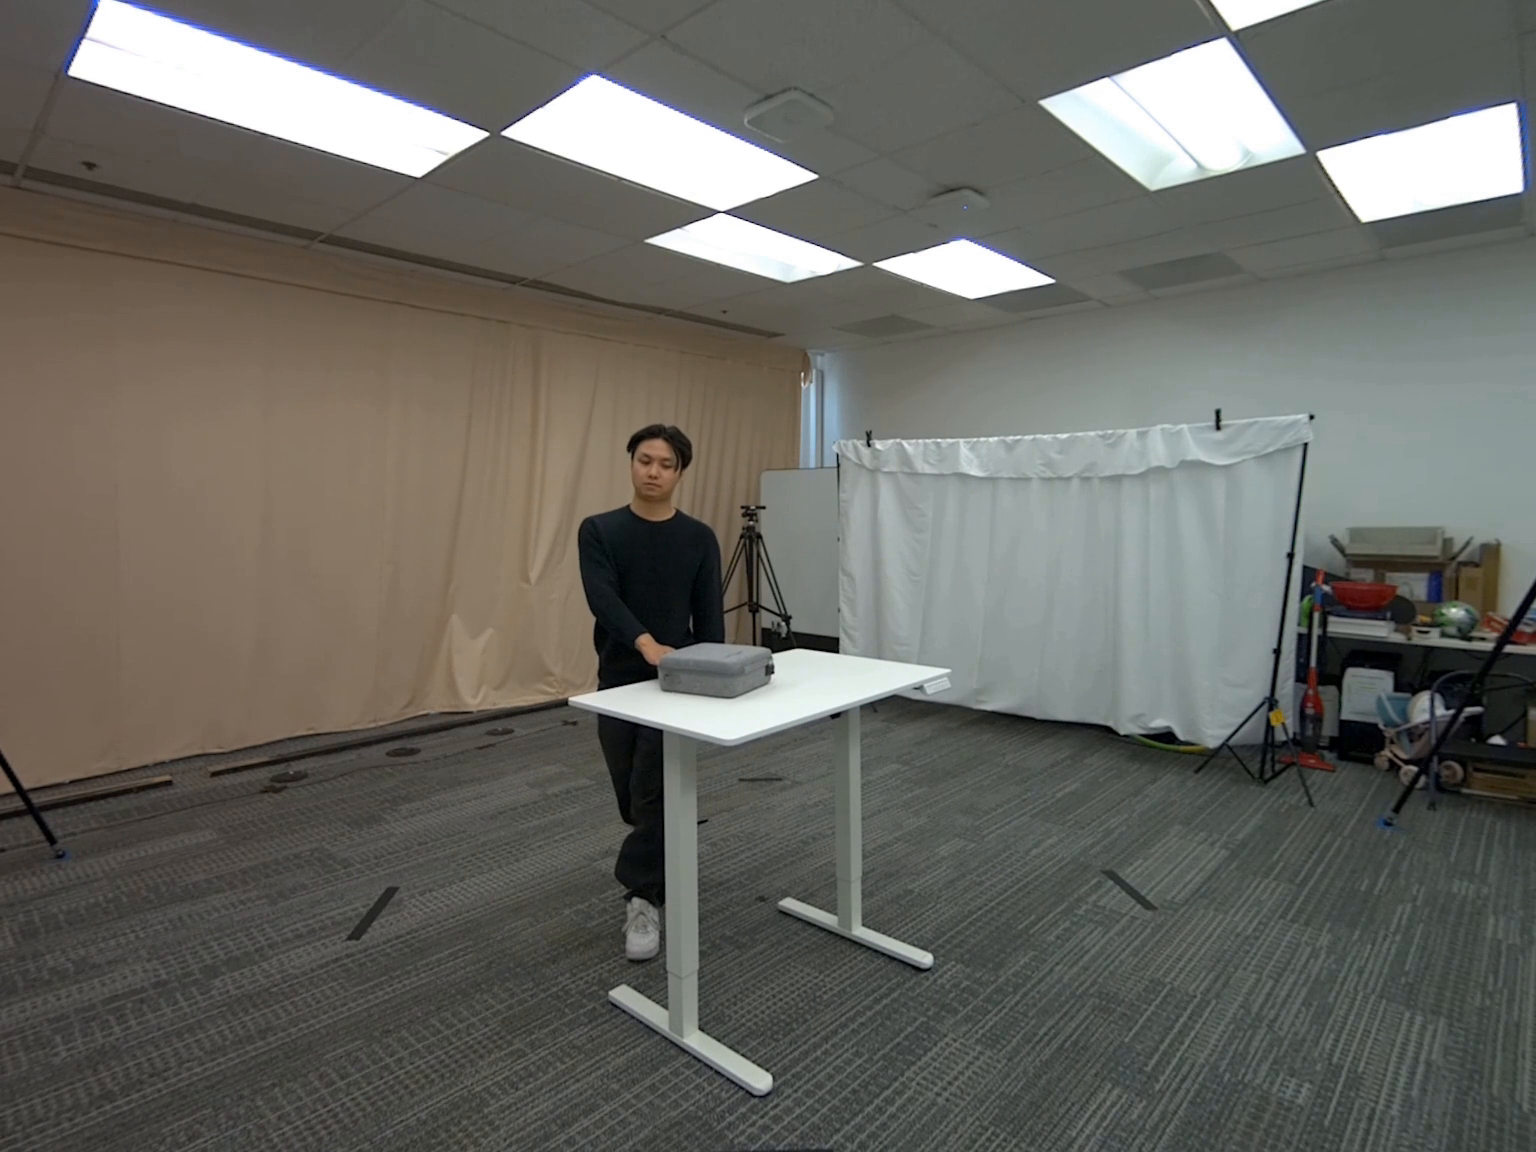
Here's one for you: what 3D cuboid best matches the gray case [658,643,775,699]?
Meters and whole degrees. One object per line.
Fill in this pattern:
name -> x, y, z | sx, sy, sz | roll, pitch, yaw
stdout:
gray case -> -0.150, 0.261, 2.381 | 0.268, 0.104, 0.251 | 1, 6, 29
